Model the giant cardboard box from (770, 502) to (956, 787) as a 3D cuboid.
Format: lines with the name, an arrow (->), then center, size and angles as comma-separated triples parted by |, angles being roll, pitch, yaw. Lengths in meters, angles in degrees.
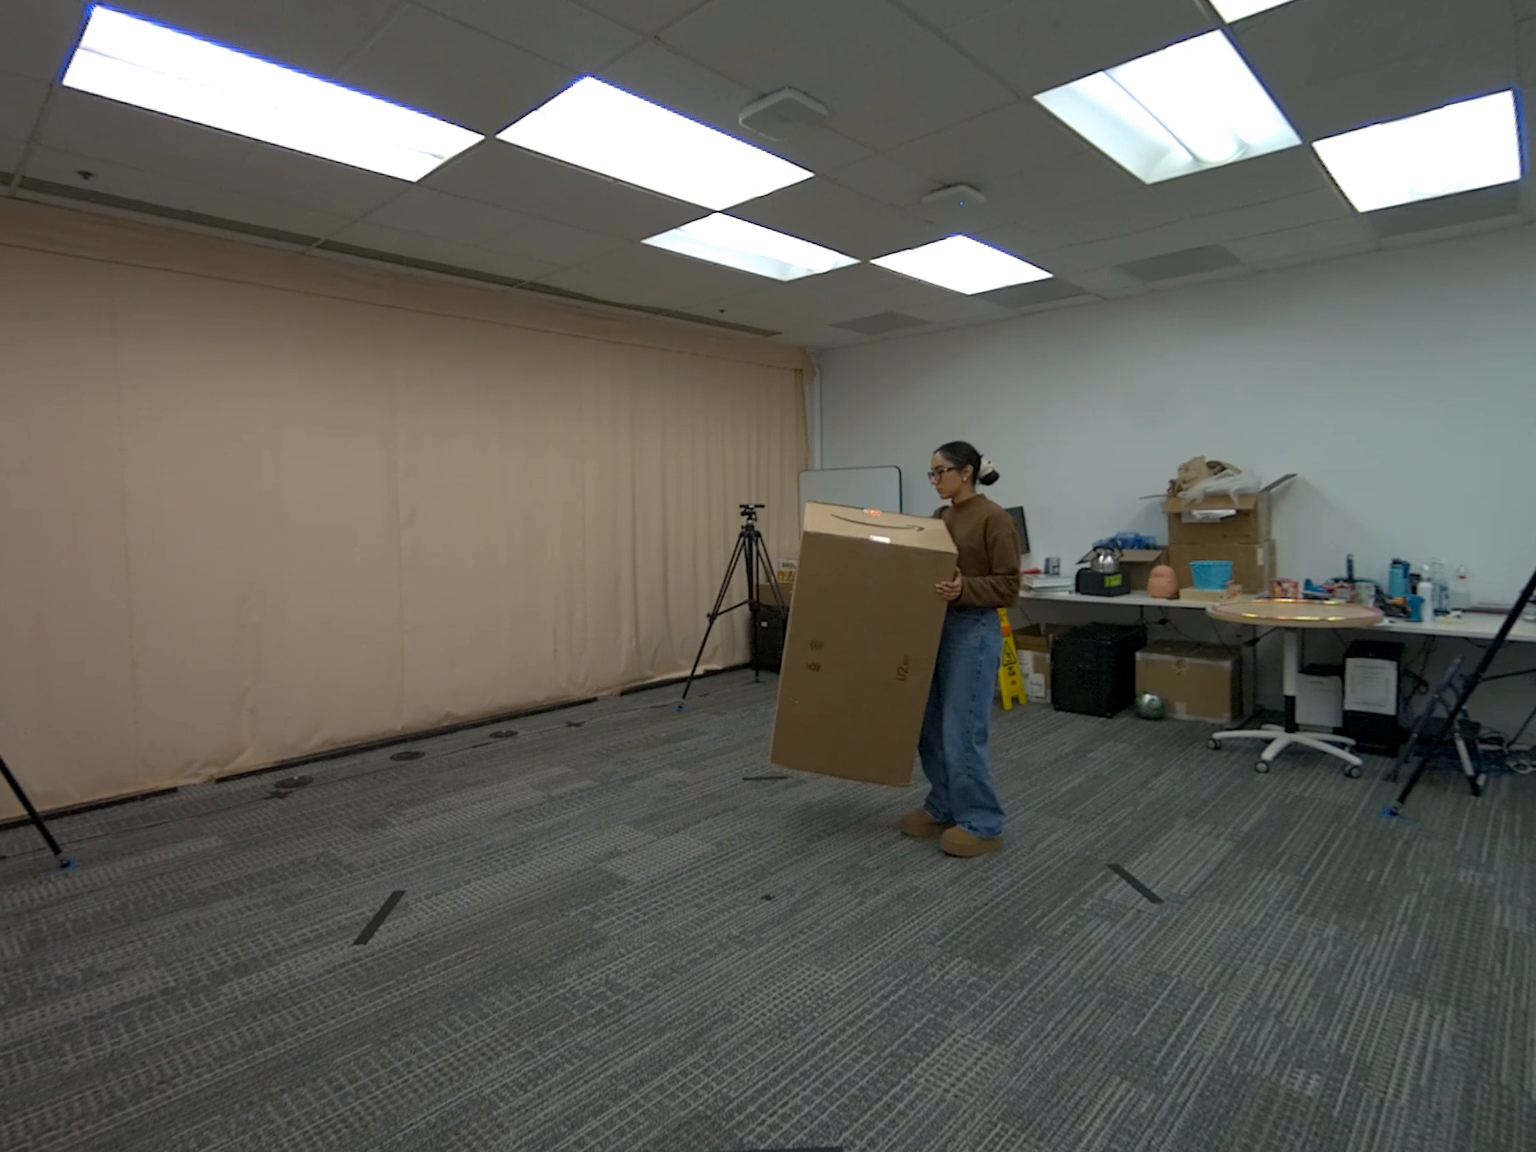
giant cardboard box -> 0.375, 0.286, 3.464 | 0.581, 1.016, 0.428 | 8, 20, 4
